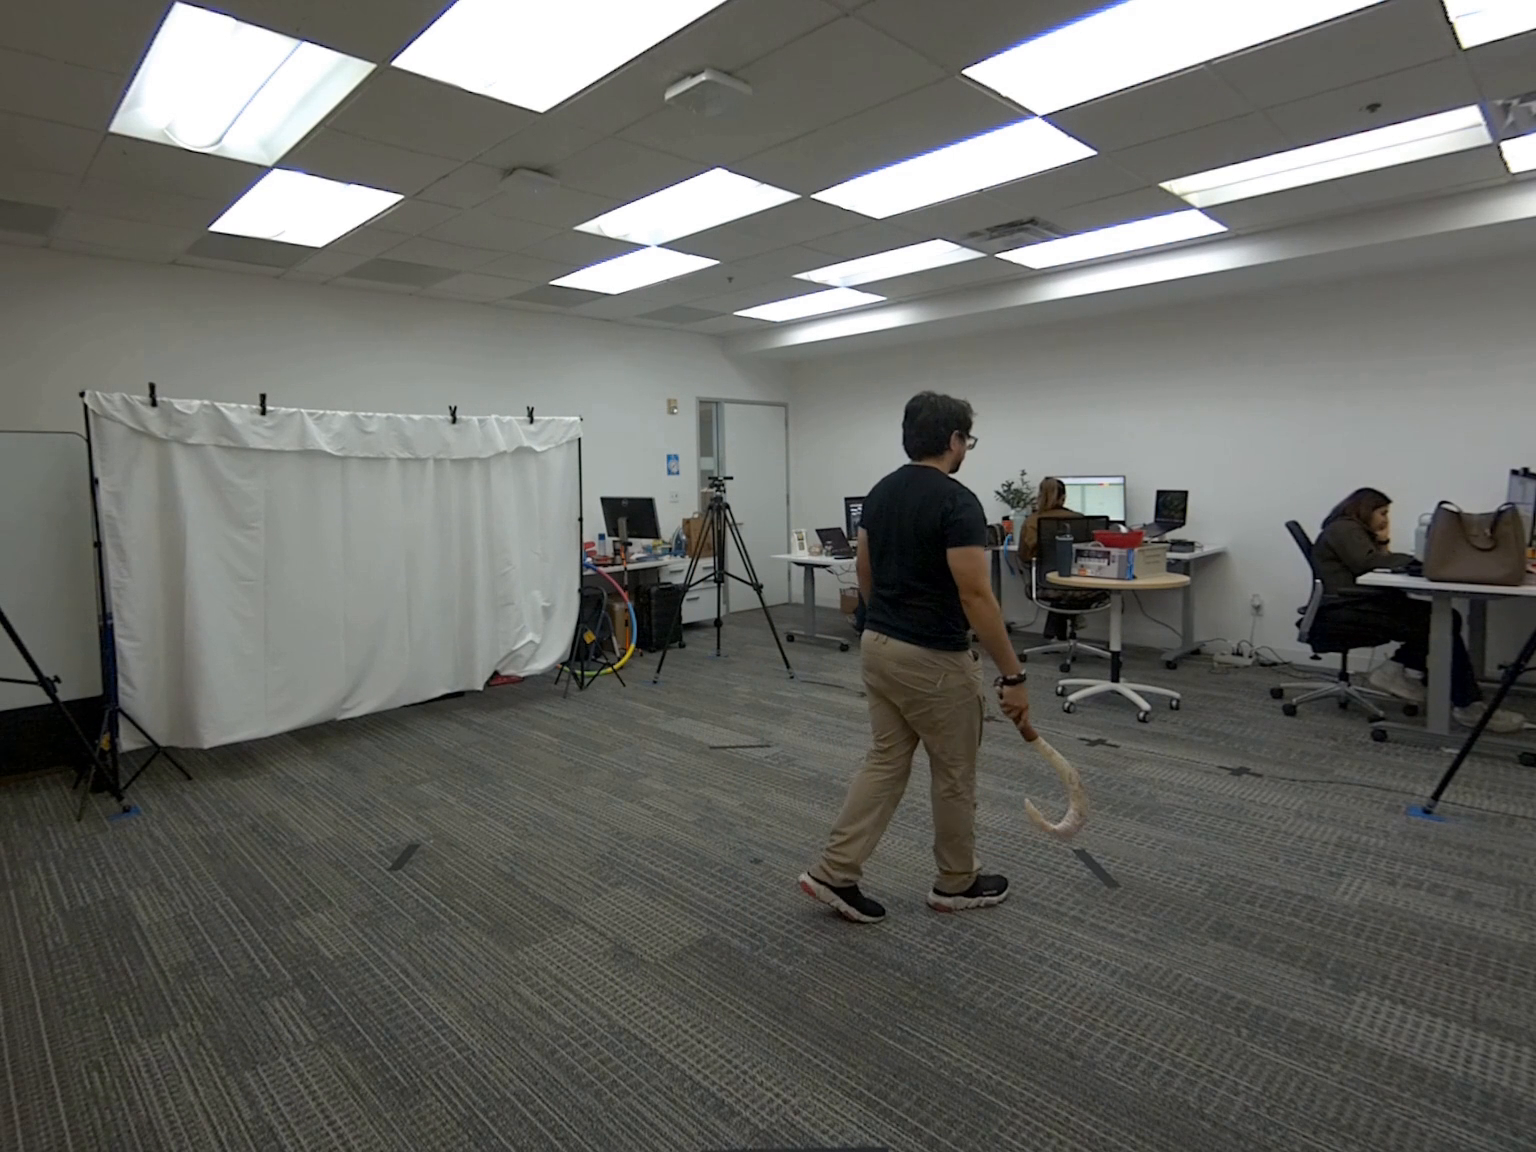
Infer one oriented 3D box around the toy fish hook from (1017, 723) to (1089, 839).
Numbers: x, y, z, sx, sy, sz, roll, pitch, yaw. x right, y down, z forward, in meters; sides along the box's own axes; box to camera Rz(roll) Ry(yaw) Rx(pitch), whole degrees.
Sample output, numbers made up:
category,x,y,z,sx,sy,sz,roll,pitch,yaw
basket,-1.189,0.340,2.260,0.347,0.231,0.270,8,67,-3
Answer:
category,x,y,z,sx,sy,sz,roll,pitch,yaw
toy fish hook,0.767,0.539,2.488,0.223,0.505,0.049,-35,3,-31
